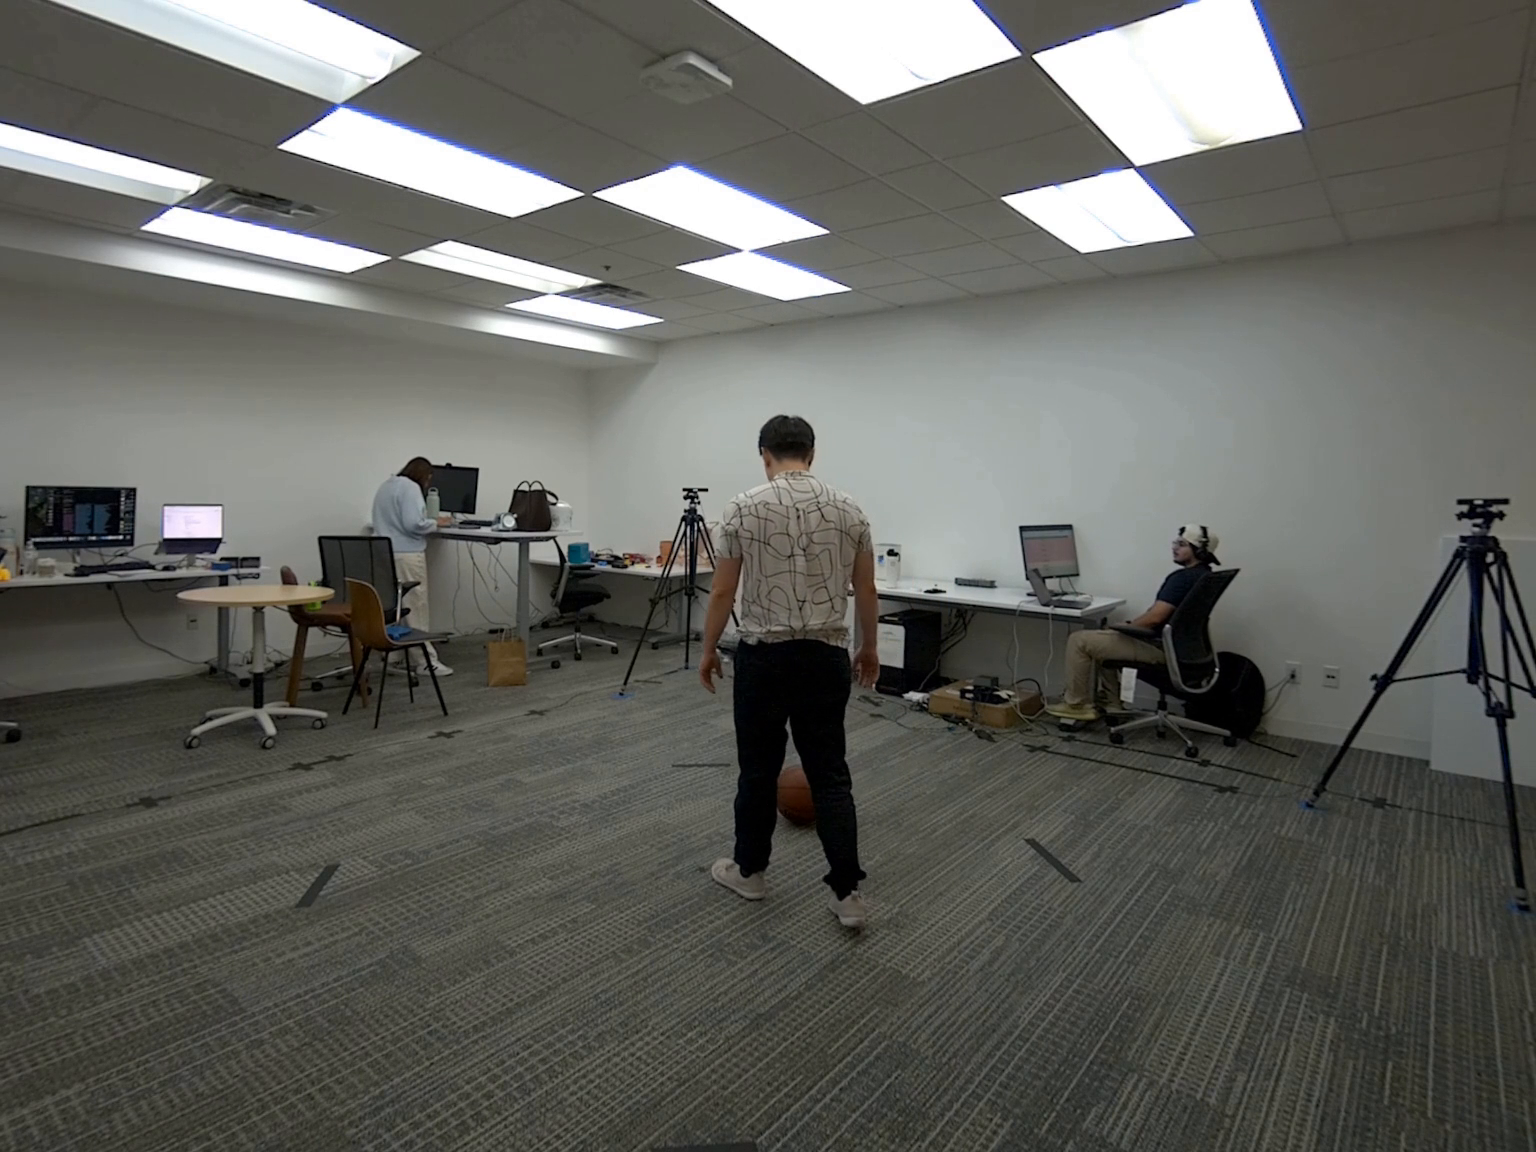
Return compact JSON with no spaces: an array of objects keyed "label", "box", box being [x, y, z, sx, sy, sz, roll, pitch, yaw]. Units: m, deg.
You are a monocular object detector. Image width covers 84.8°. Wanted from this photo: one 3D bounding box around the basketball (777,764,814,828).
[{"label":"basketball","box":[0.130,0.906,3.578,0.235,0.235,0.237,1,4,-2]}]
